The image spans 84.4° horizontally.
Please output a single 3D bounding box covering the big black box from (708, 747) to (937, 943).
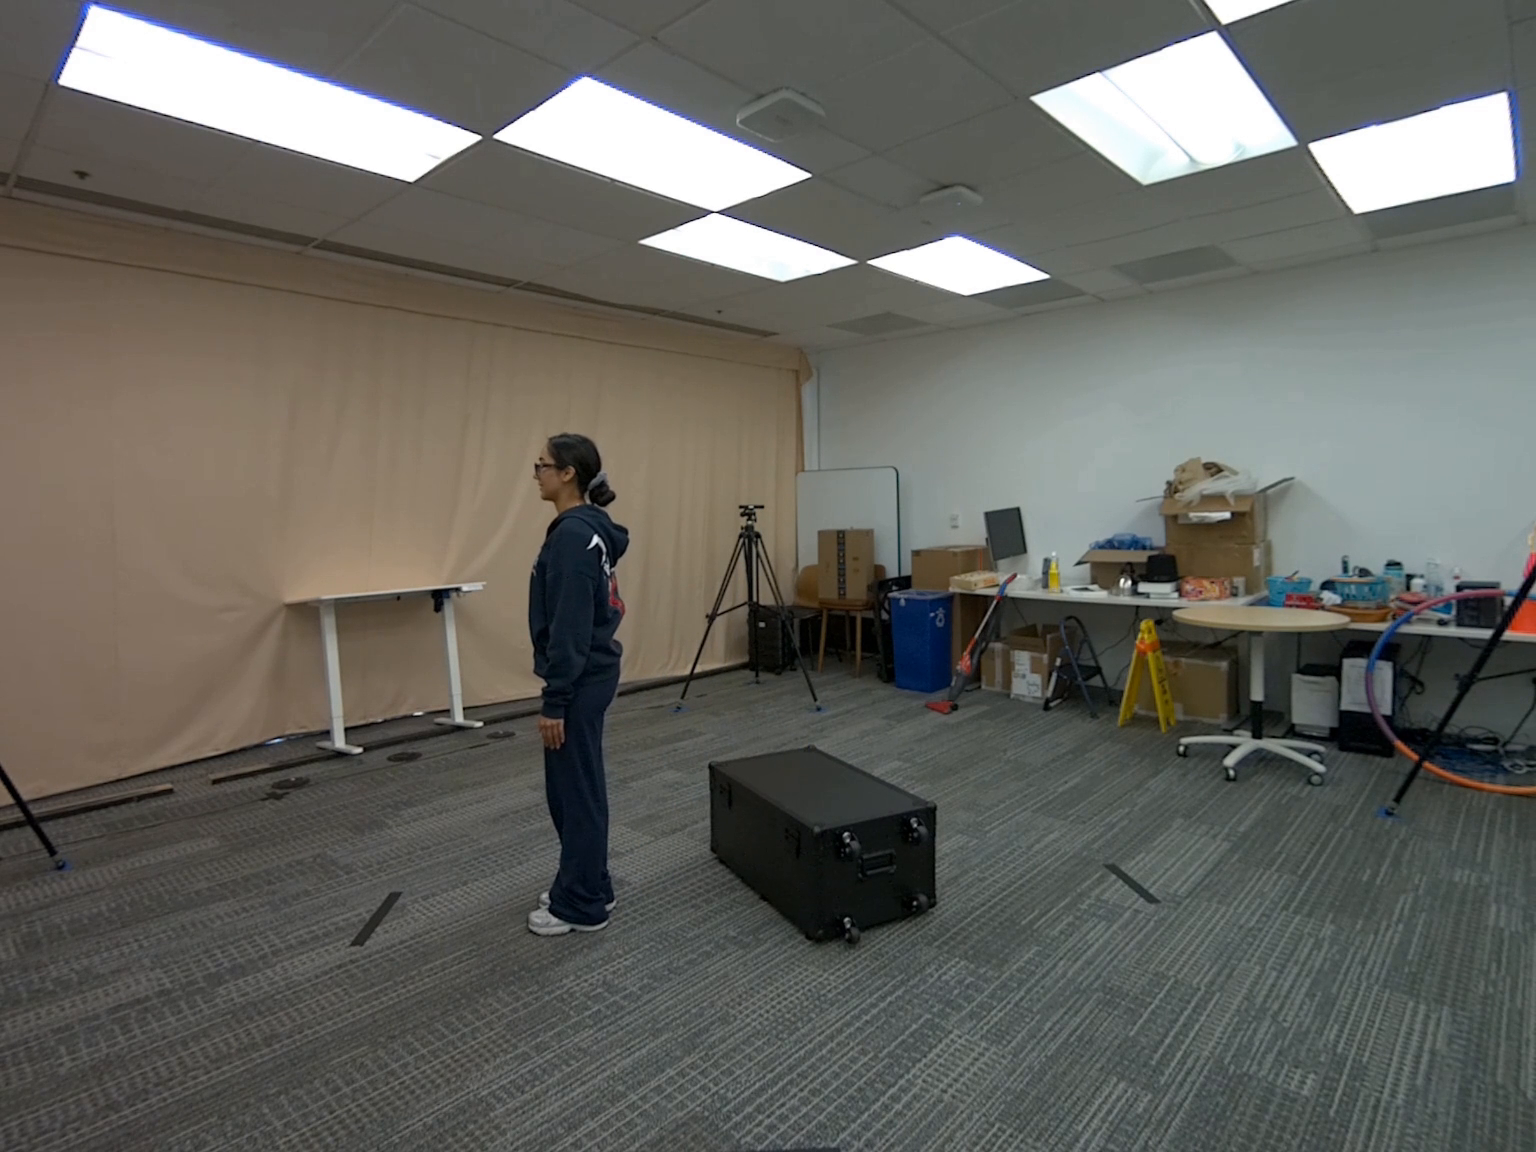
[{"bbox_3d":[0.202,0.953,3.064,0.386,0.519,0.887,-6,6,-31],"label":"big black box"}]
